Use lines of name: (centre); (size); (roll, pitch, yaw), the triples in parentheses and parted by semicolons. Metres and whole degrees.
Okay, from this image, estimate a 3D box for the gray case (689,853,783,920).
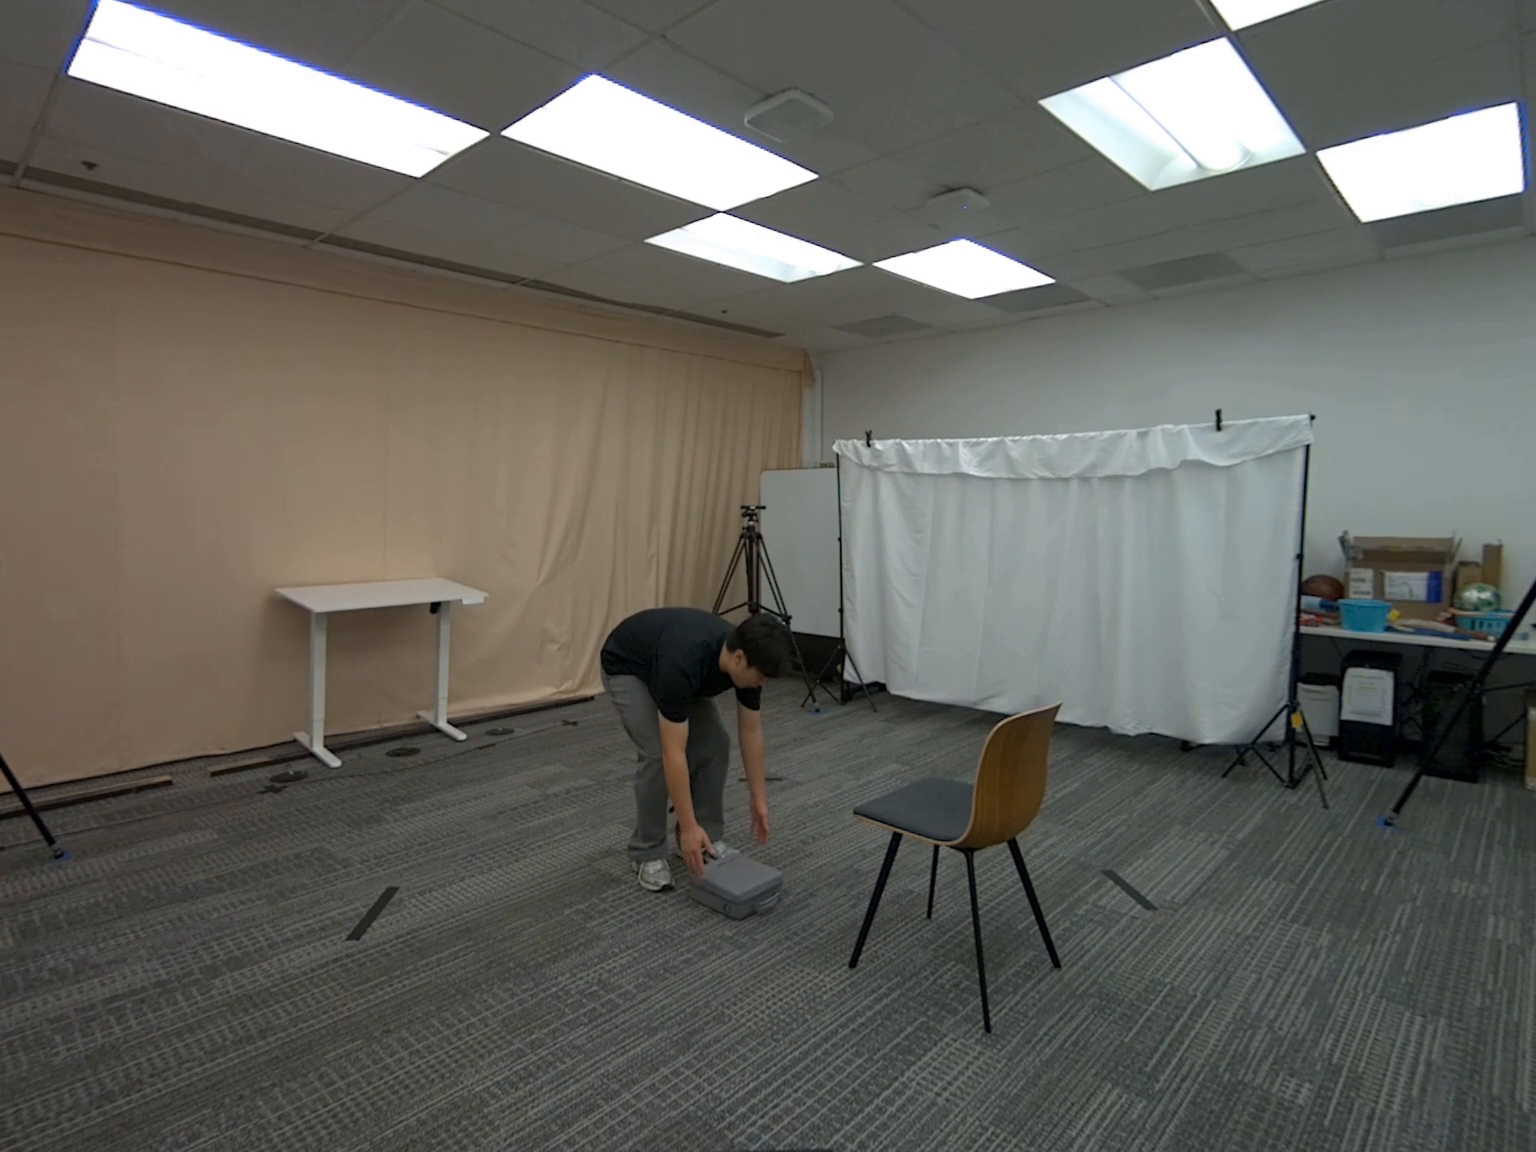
gray case: (-0.098, 1.084, 2.976); (0.297, 0.103, 0.255); (7, 8, 43)
